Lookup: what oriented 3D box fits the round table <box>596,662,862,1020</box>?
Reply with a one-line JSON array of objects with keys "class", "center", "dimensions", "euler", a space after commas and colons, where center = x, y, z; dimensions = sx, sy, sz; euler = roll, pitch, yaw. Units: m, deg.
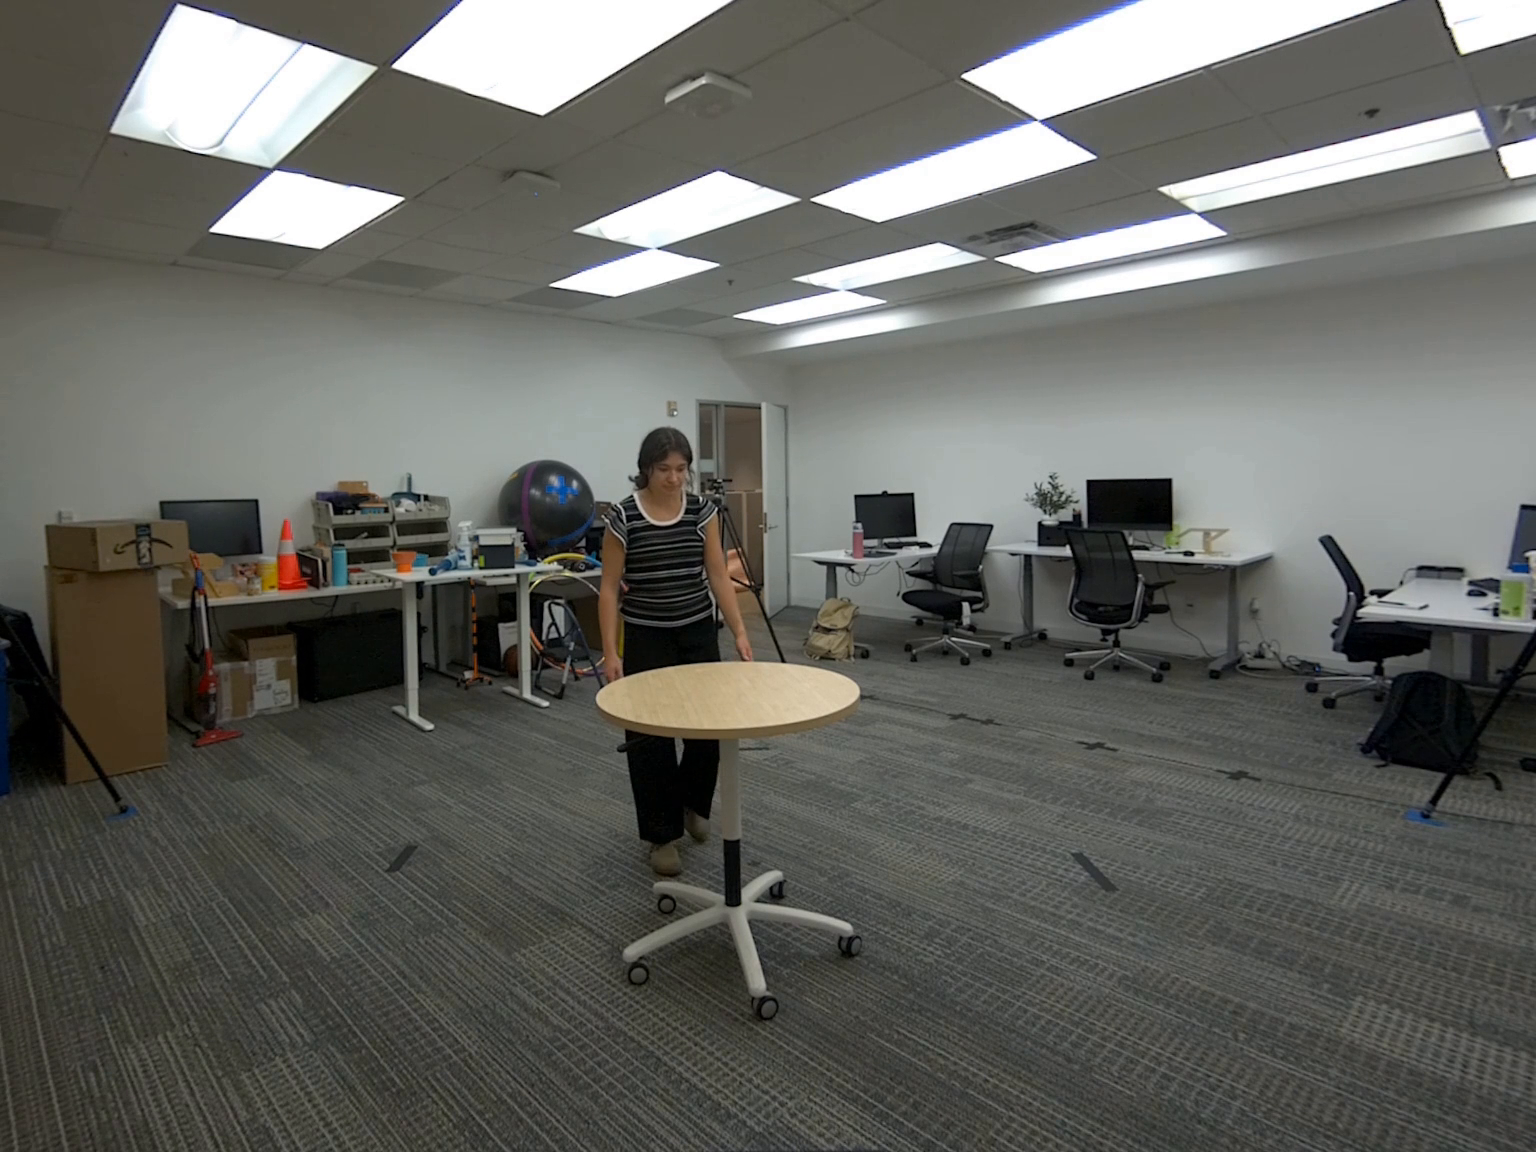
[{"class": "round table", "center": [-0.115, 0.719, 2.527], "dimensions": [0.784, 0.783, 0.789], "euler": [-1, 5, -2]}]
